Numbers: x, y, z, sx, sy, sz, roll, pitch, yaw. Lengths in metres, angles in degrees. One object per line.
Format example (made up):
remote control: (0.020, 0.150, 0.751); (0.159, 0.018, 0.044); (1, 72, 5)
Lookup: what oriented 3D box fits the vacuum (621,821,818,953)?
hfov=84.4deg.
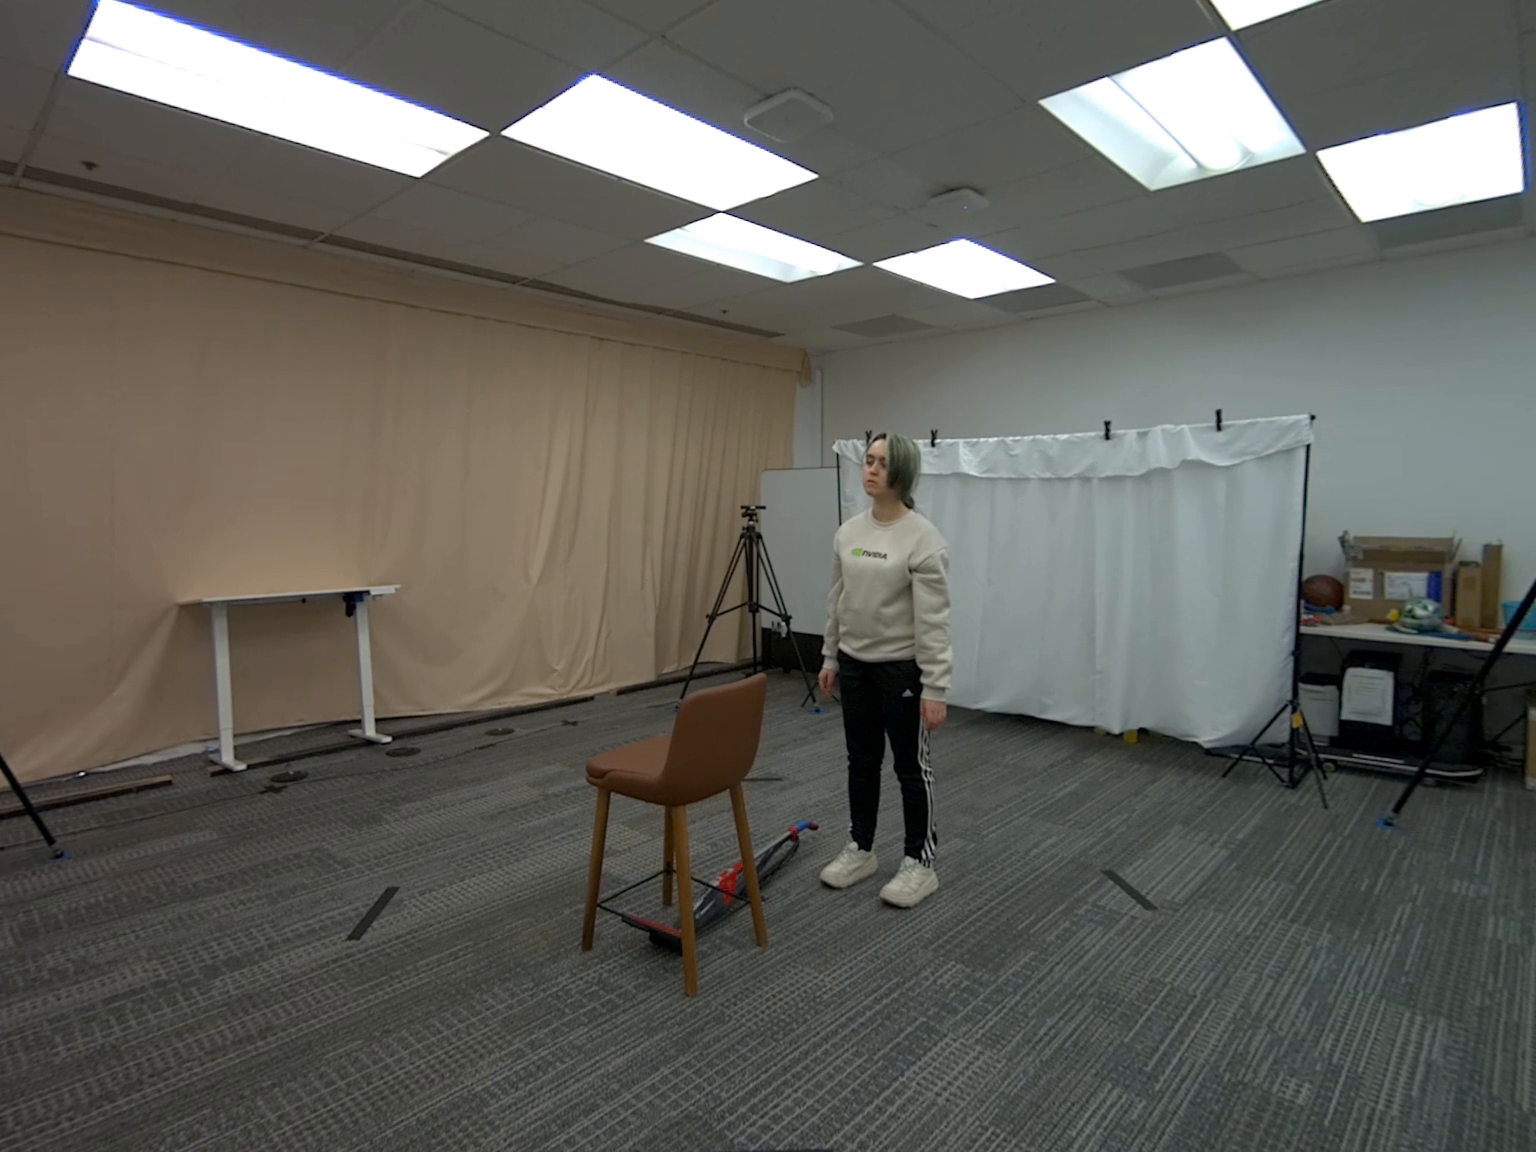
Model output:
vacuum: (-0.070, 1.090, 3.050); (0.260, 0.143, 1.021); (4, 6, 31)
